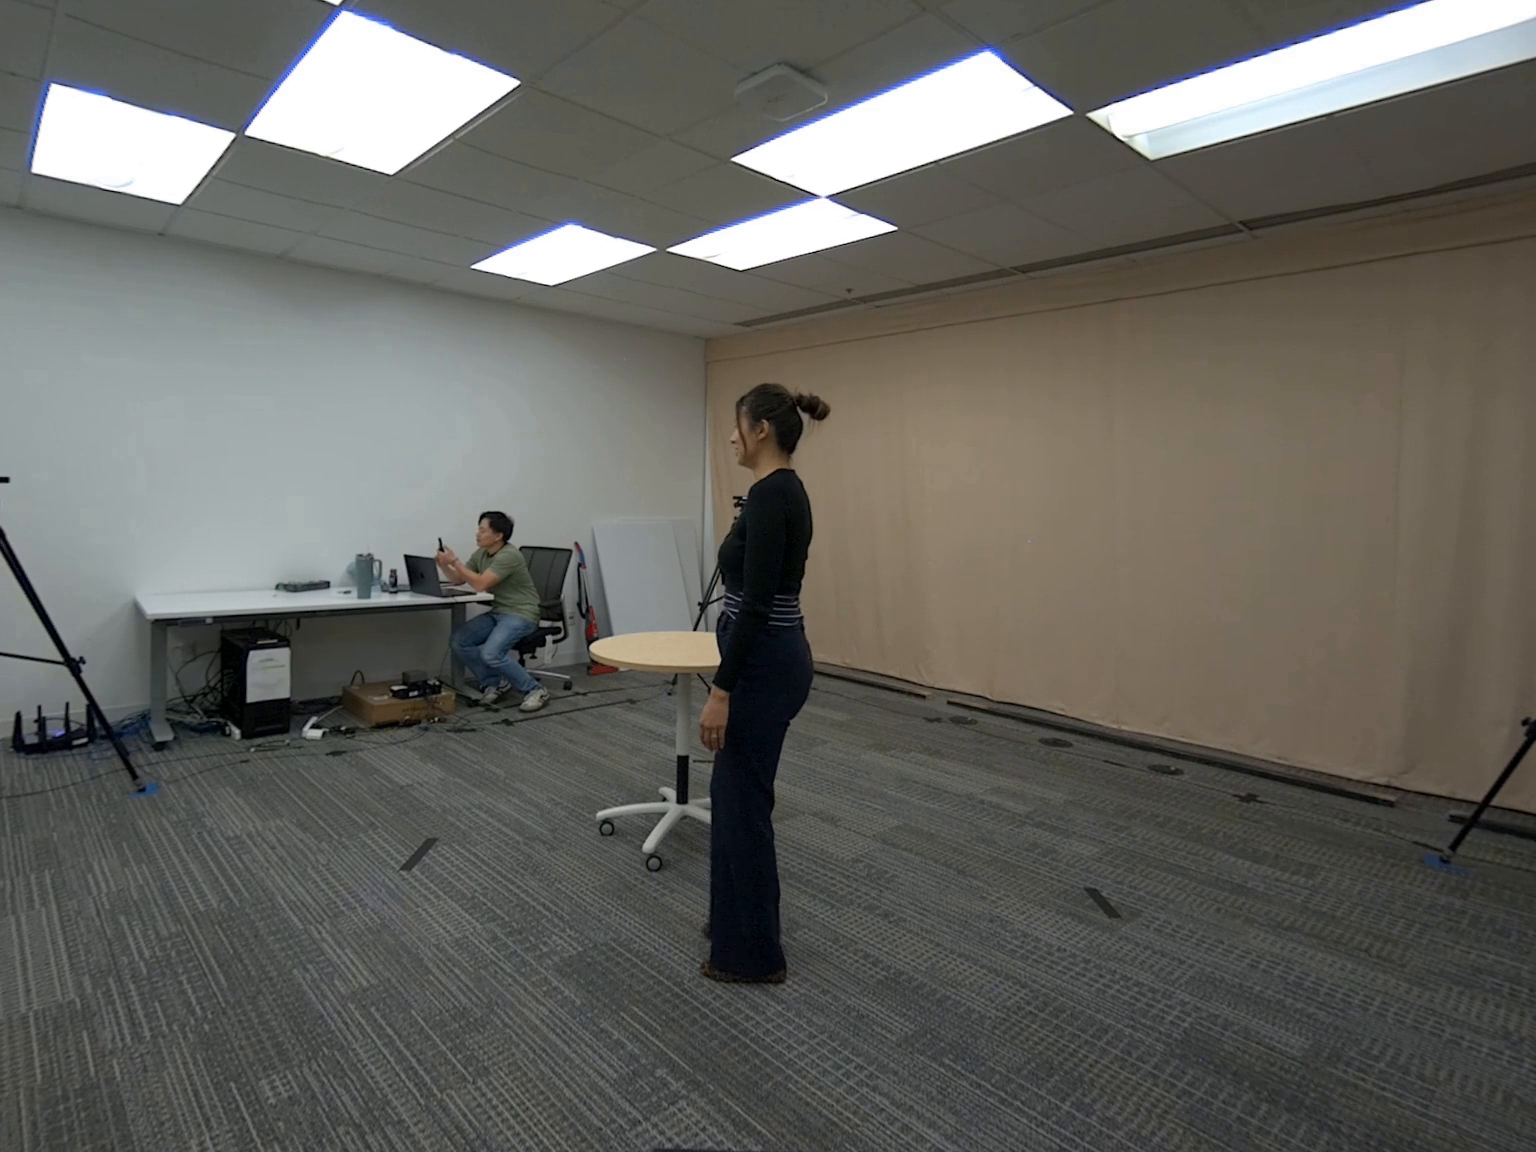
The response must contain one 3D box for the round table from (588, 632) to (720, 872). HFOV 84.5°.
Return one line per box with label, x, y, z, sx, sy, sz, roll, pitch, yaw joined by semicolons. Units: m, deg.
round table;-0.354;0.681;3.425;0.763;0.792;0.767;1;4;-1
